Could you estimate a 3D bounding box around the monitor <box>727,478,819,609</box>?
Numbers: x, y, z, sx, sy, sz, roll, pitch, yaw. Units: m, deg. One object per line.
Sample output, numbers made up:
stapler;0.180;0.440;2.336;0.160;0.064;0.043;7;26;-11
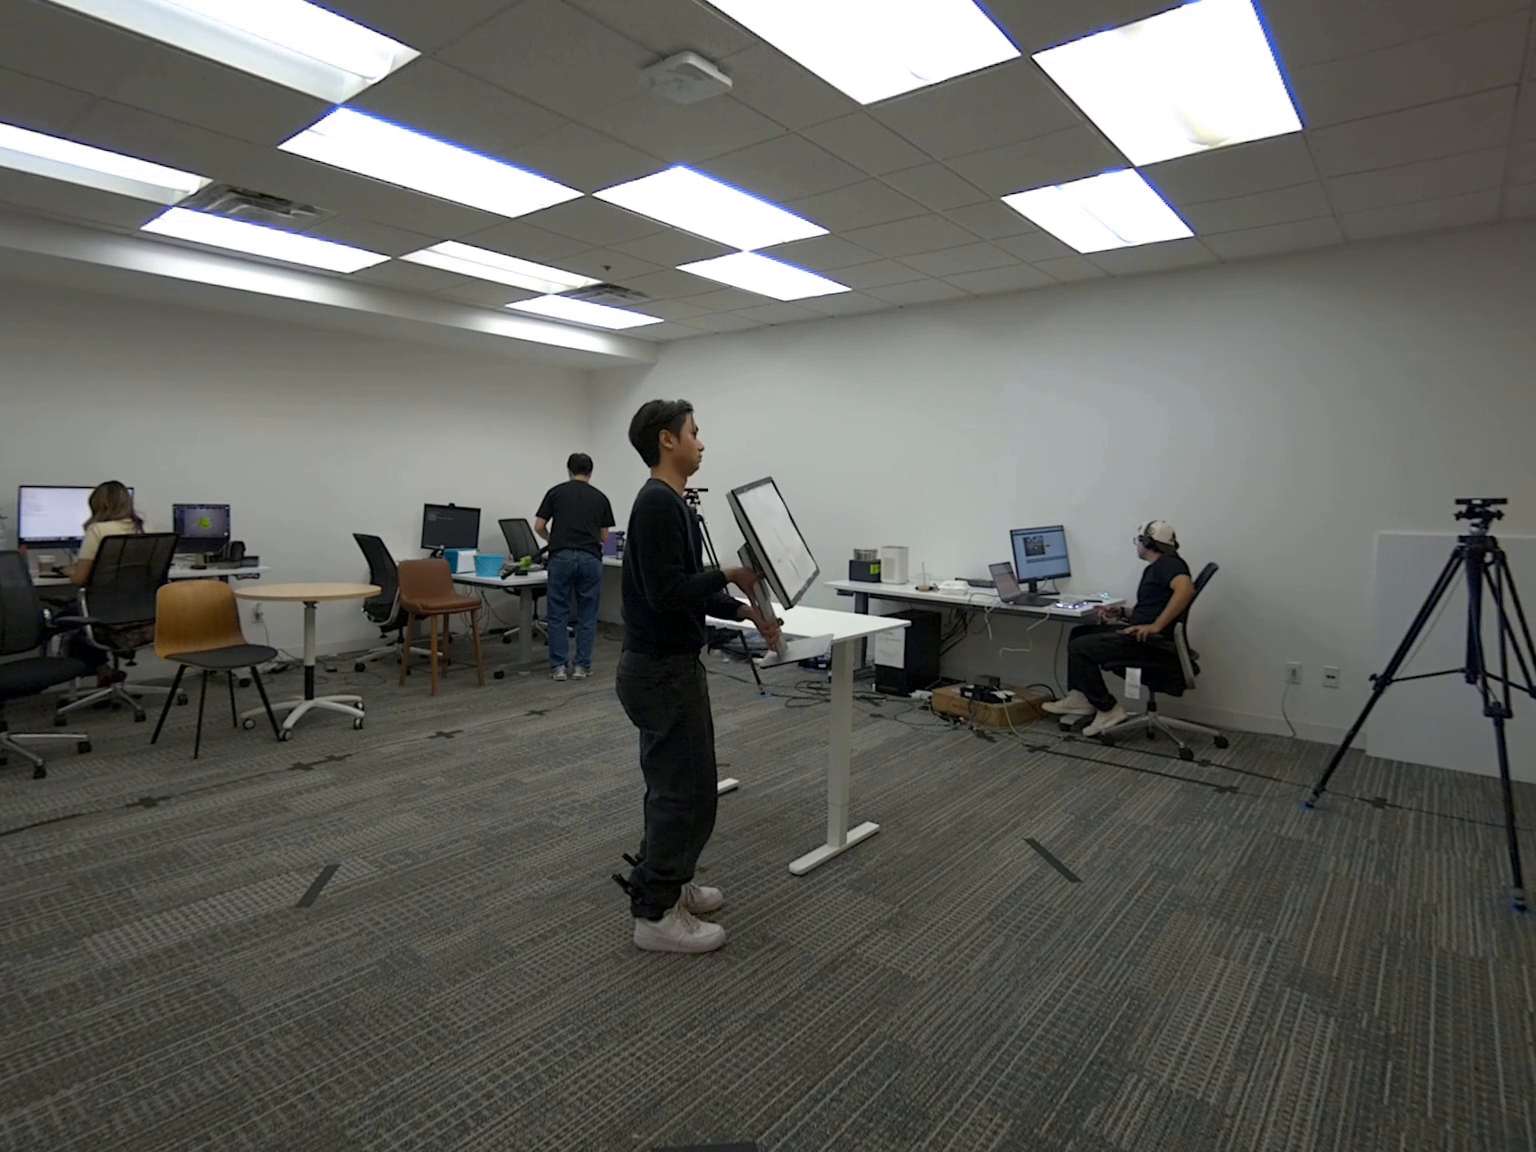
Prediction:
monitor;0.010;-0.019;2.599;0.189;0.520;0.536;-14;6;12
